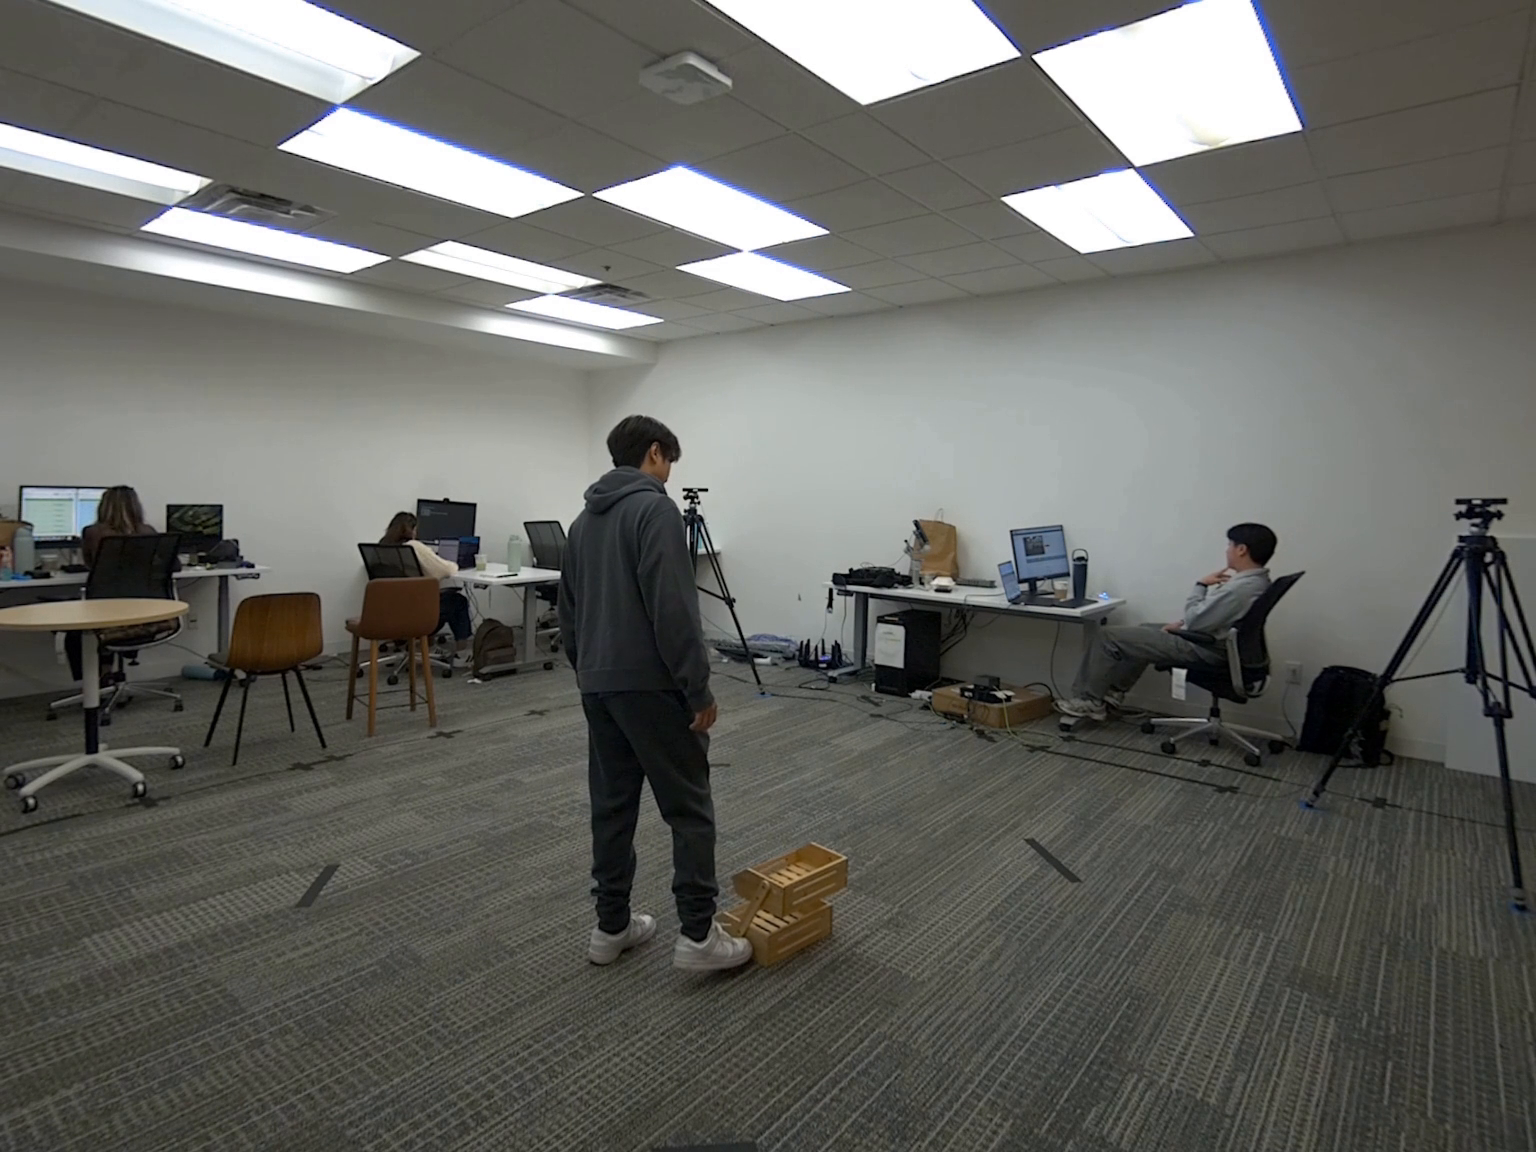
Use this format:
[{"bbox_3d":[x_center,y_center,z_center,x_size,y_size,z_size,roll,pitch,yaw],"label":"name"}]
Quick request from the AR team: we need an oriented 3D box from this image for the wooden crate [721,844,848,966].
[{"bbox_3d":[0.026,0.987,2.640,0.312,0.272,0.315,7,7,44],"label":"wooden crate"}]
